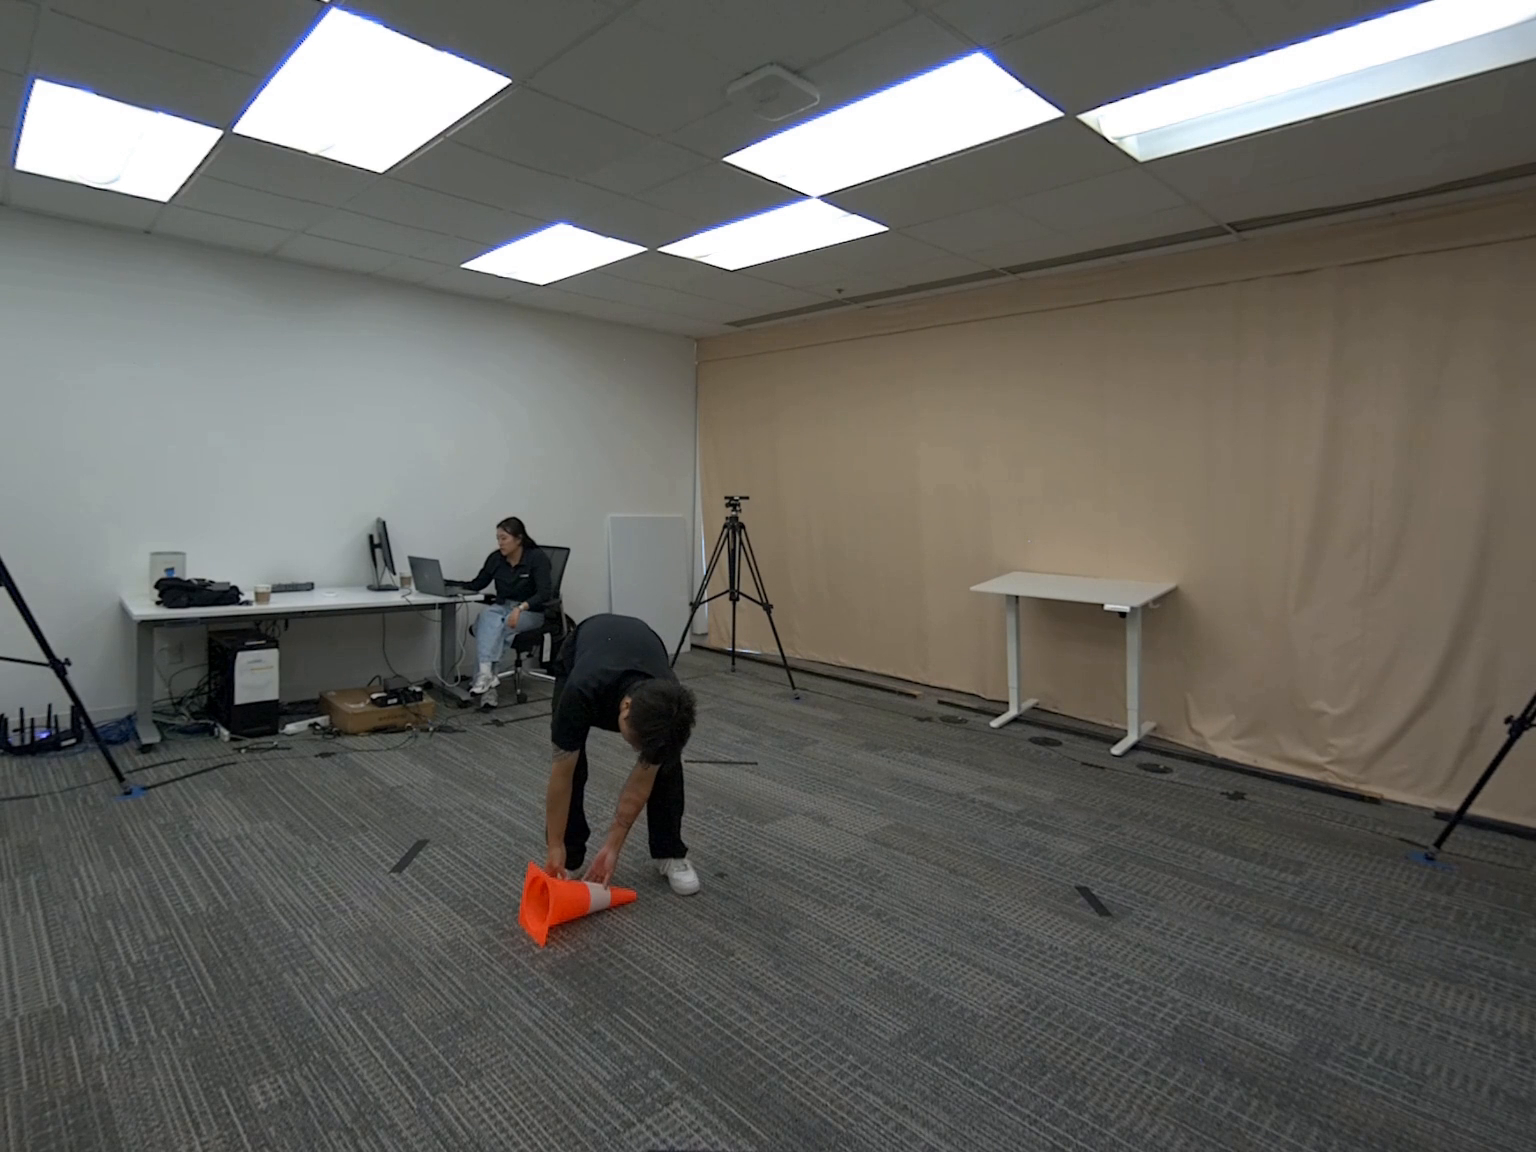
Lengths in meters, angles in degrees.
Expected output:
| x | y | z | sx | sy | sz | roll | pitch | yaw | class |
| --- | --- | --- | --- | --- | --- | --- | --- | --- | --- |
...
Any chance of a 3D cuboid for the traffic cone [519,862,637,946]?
| x | y | z | sx | sy | sz | roll | pitch | yaw | class |
| --- | --- | --- | --- | --- | --- | --- | --- | --- | --- |
| -0.600 | 1.072 | 2.776 | 0.373 | 0.204 | 0.210 | 13 | -3 | -40 | traffic cone |
